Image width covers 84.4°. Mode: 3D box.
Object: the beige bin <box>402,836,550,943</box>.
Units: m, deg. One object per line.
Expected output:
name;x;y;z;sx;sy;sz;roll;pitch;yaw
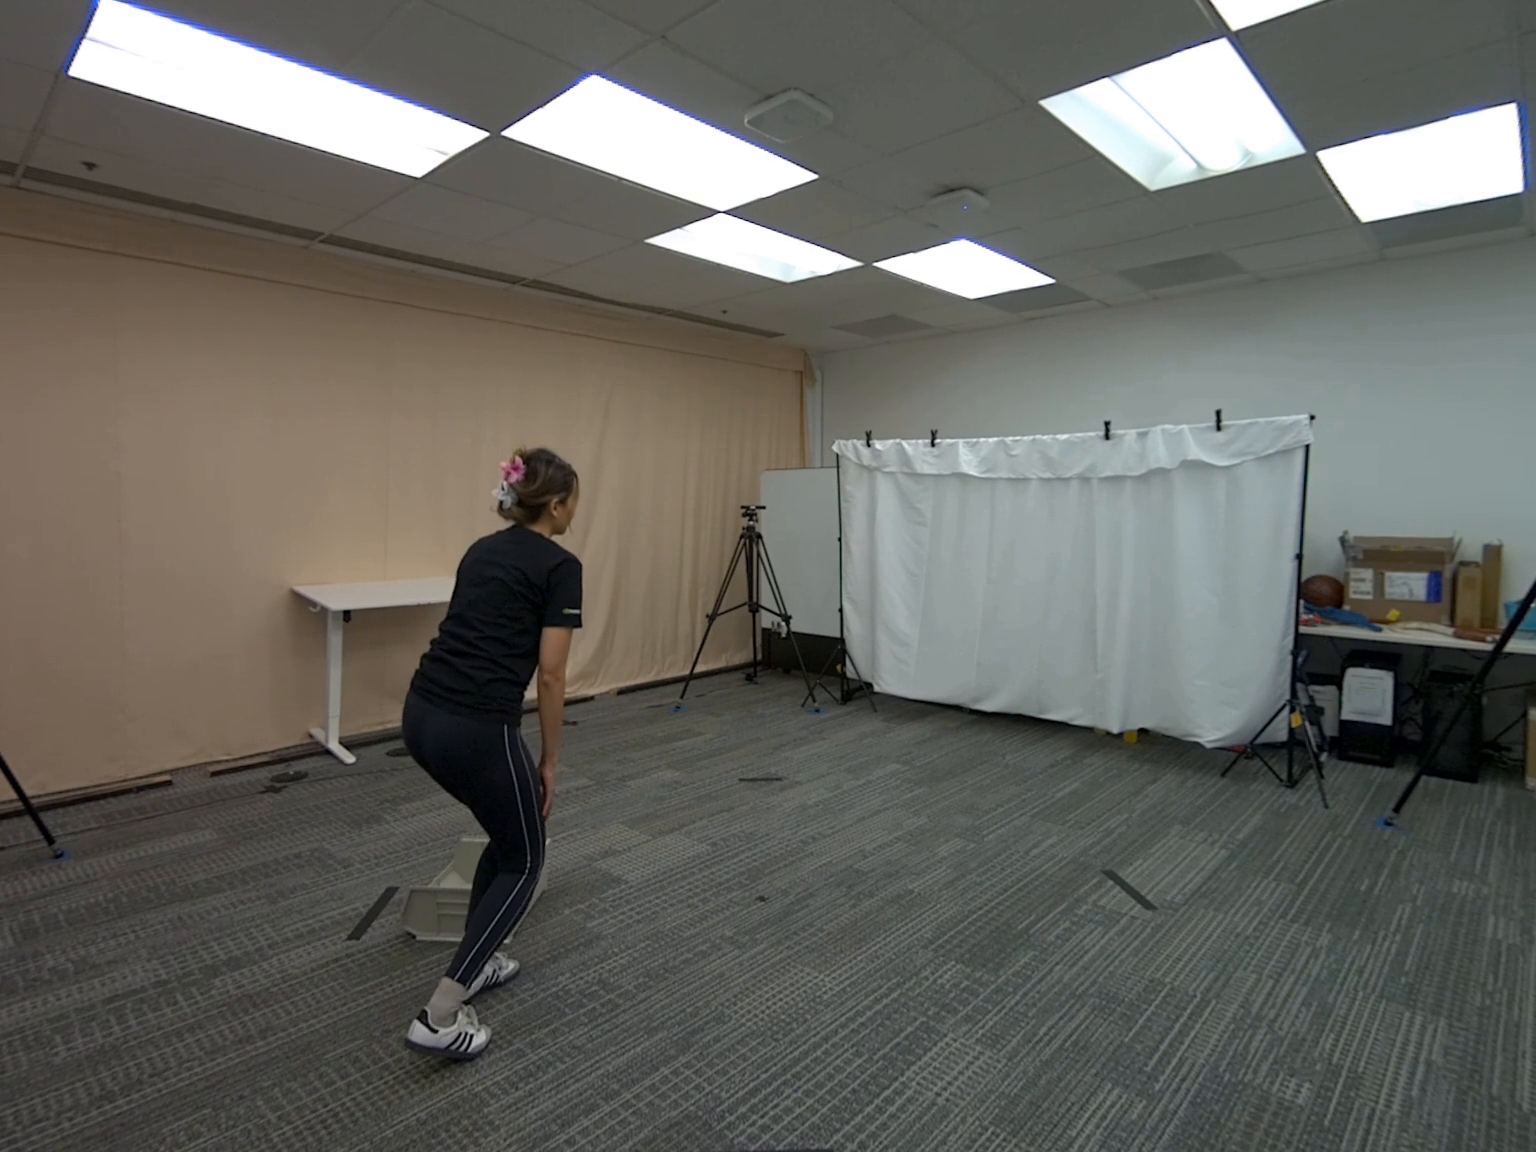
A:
beige bin;-1.005;1.075;2.900;0.379;0.188;0.421;1;4;3
